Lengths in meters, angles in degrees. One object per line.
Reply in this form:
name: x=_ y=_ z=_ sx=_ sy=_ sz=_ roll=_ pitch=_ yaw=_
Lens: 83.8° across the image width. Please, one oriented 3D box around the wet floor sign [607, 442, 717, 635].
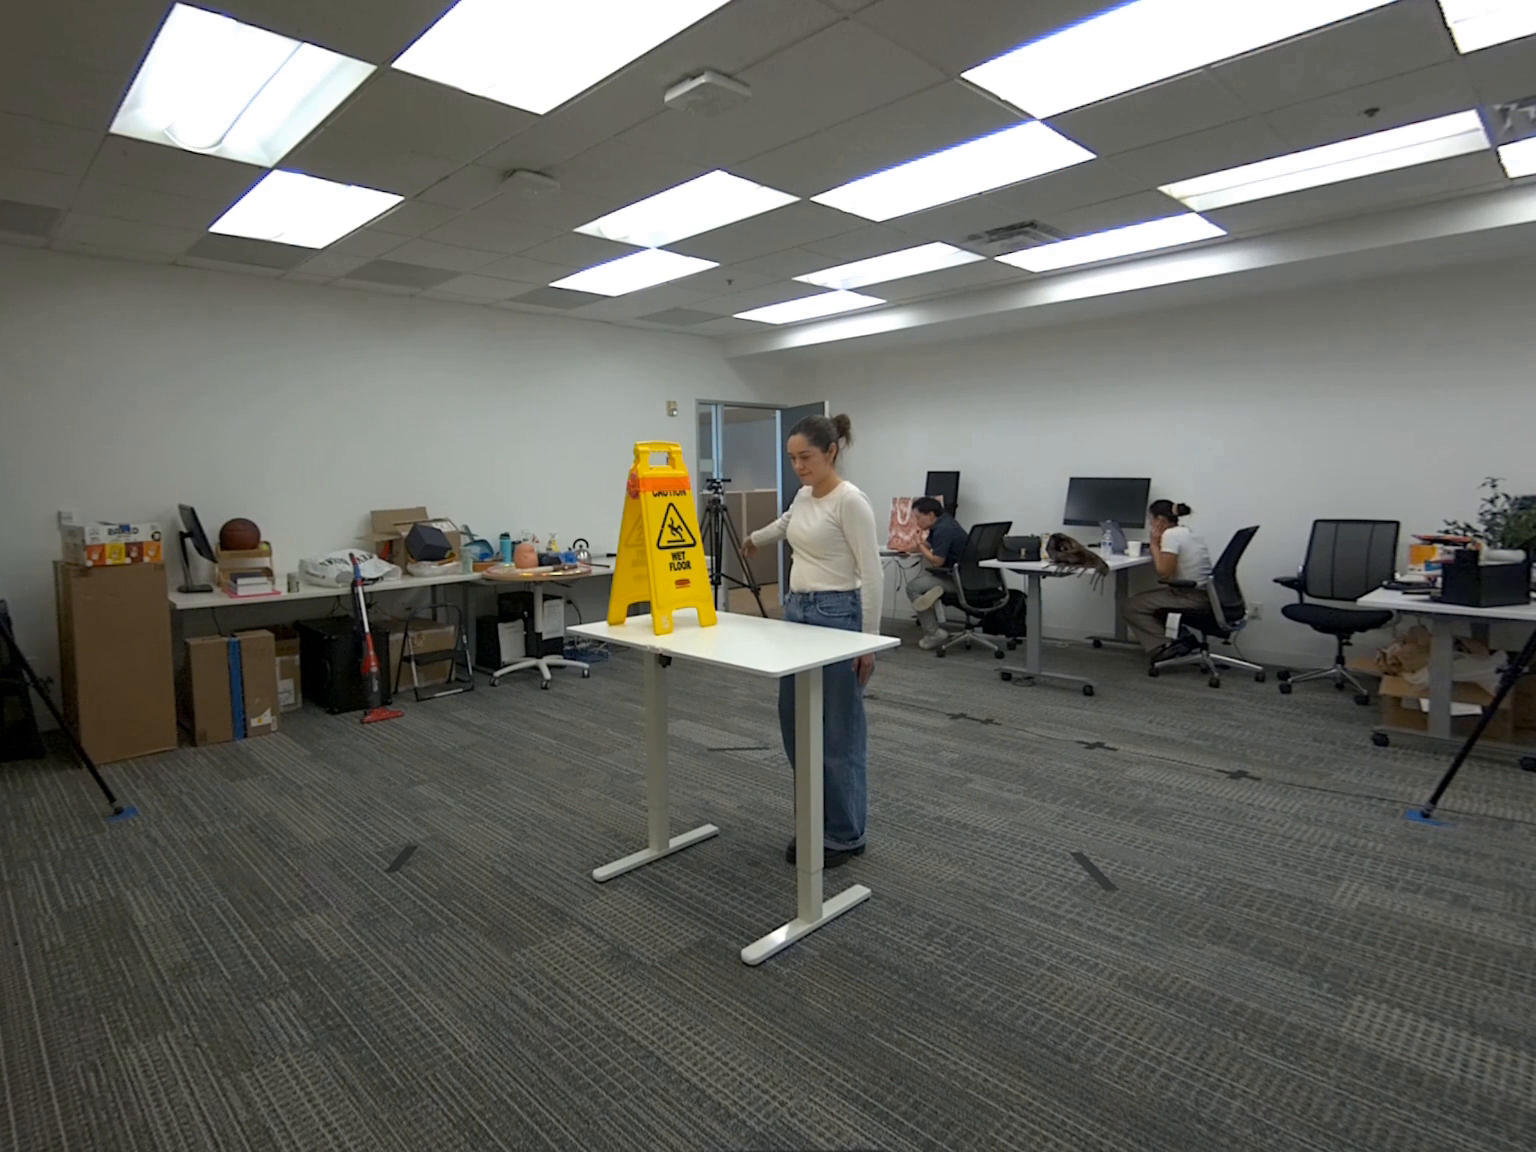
wet floor sign: x=-0.385 y=-0.146 z=3.014 sx=0.298 sy=0.644 sz=0.275 roll=2 pitch=5 yaw=44
